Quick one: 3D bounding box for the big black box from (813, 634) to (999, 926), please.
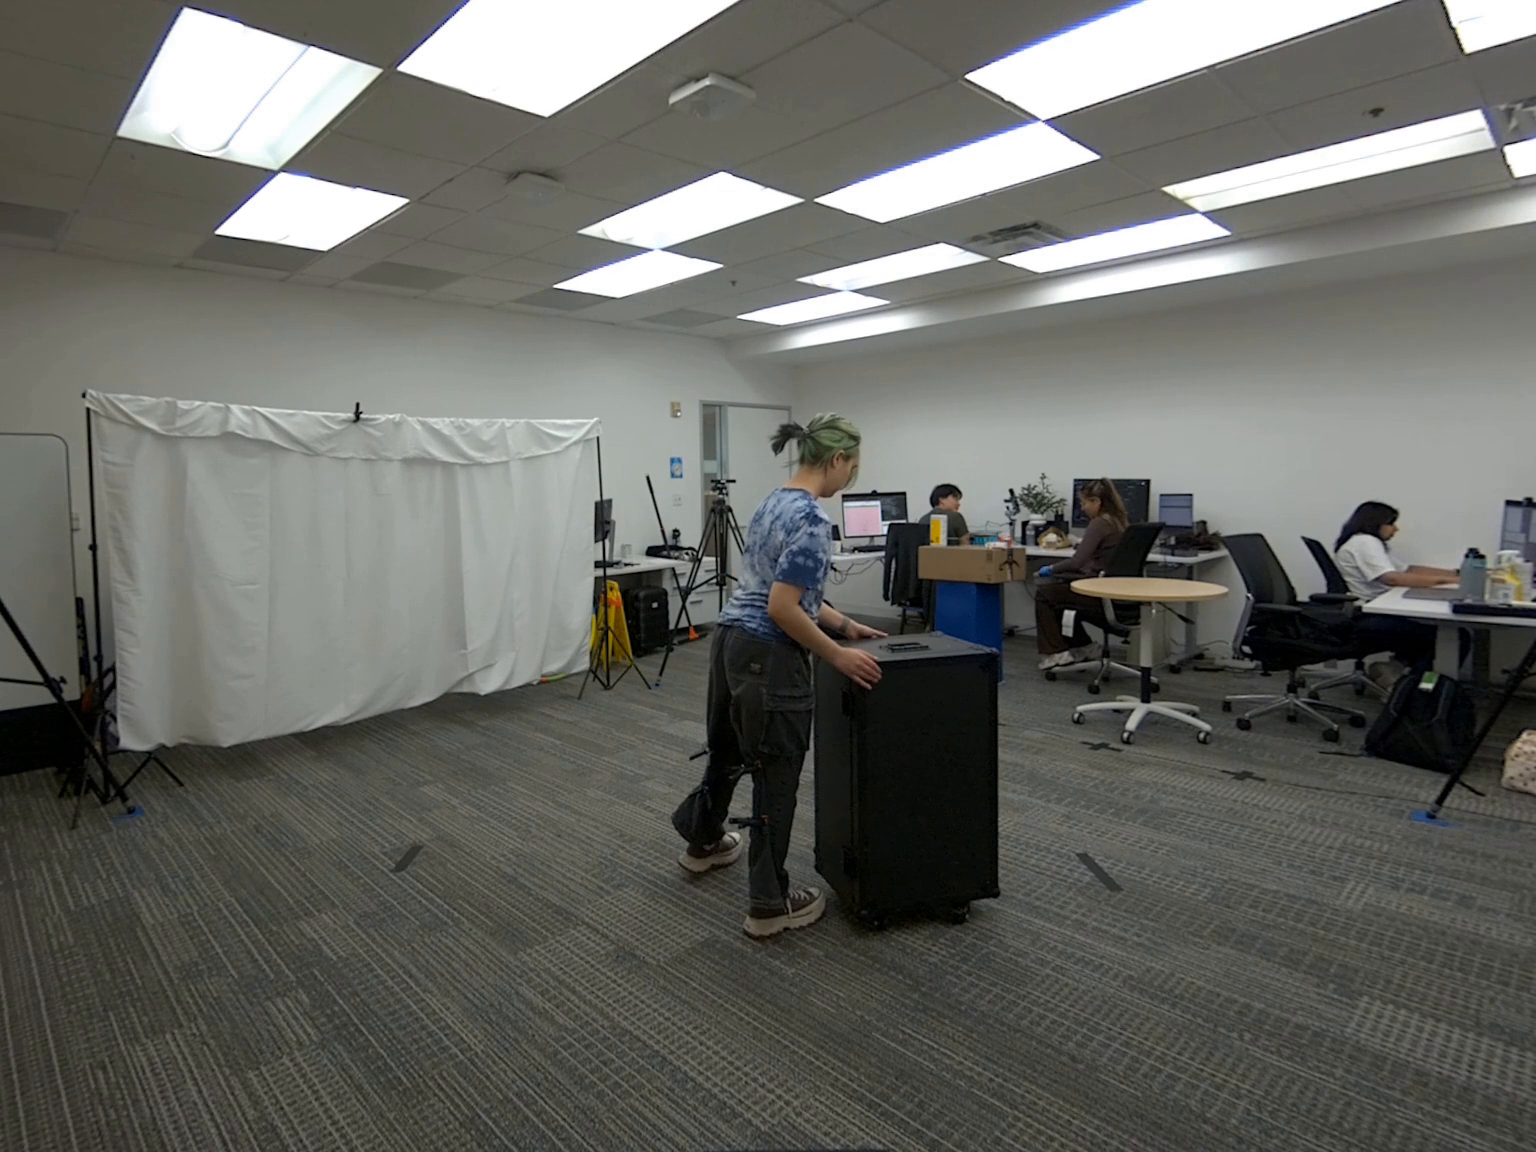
[{"bbox_3d":[0.436,0.648,2.783,0.514,0.859,0.403,-2,4,-15],"label":"big black box"}]
